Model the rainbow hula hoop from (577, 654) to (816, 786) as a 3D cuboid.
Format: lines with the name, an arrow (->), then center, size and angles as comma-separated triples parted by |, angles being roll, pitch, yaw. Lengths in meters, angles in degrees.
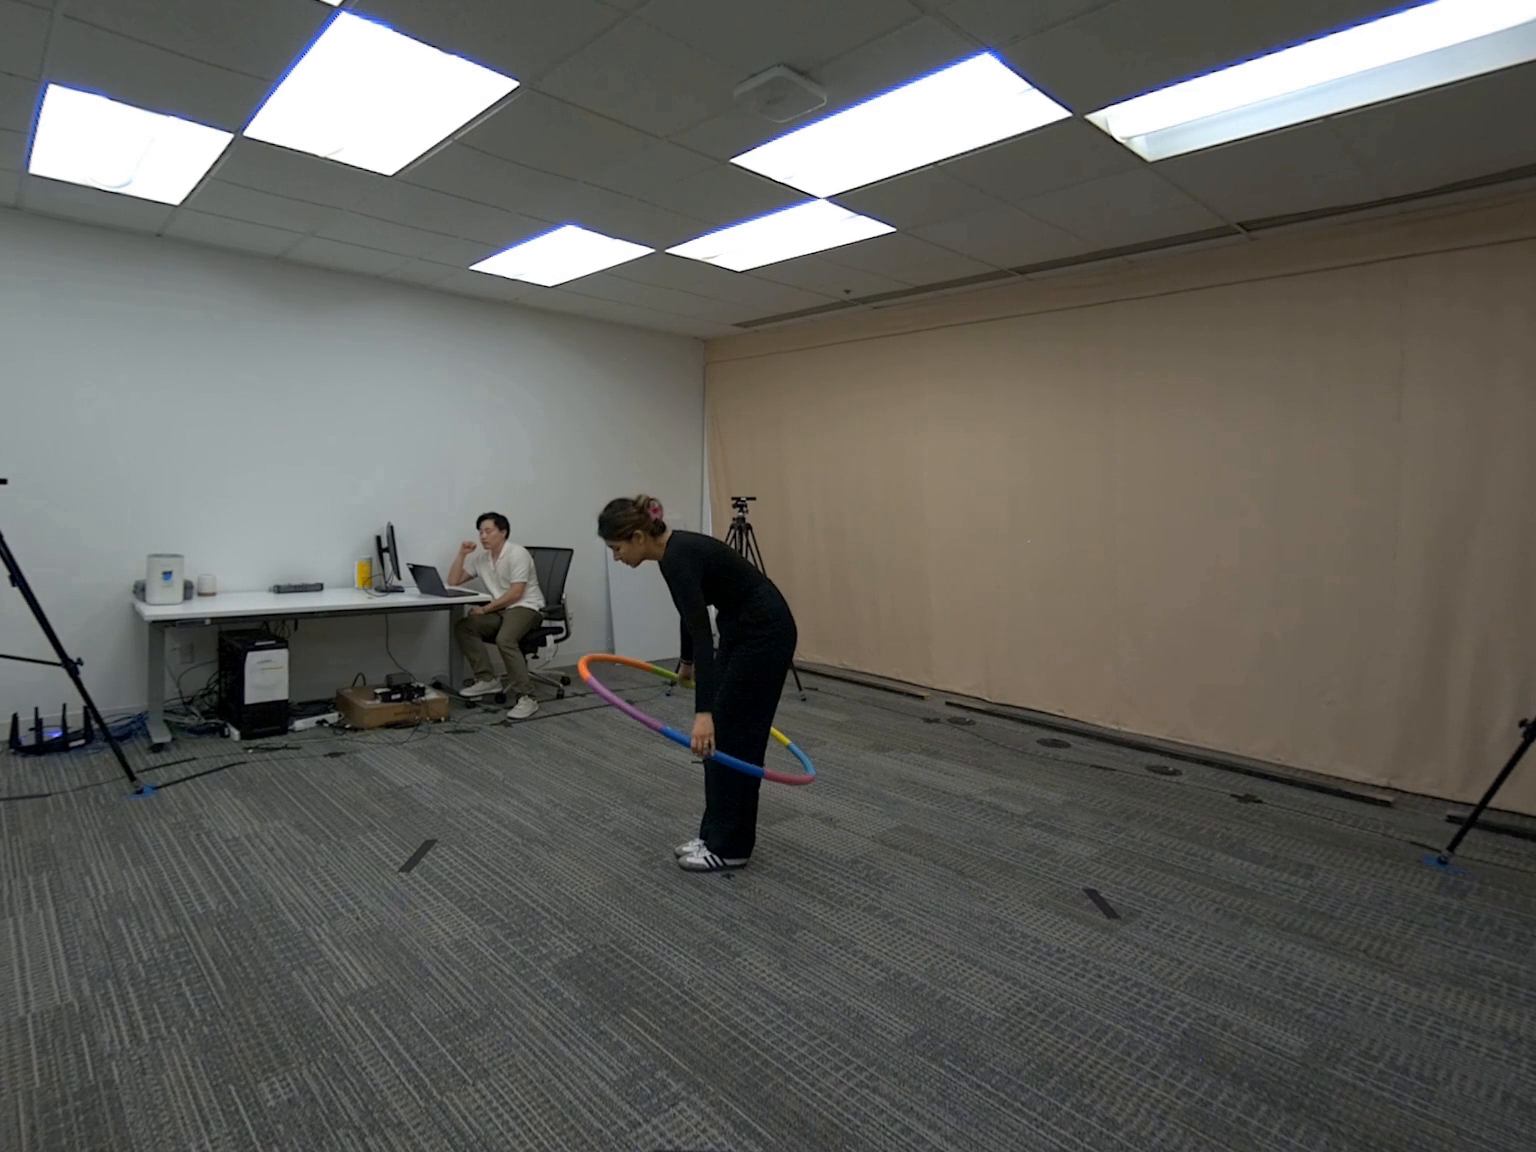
rainbow hula hoop -> -0.260, 0.533, 3.222 | 0.977, 0.035, 0.981 | 26, 2, -2
